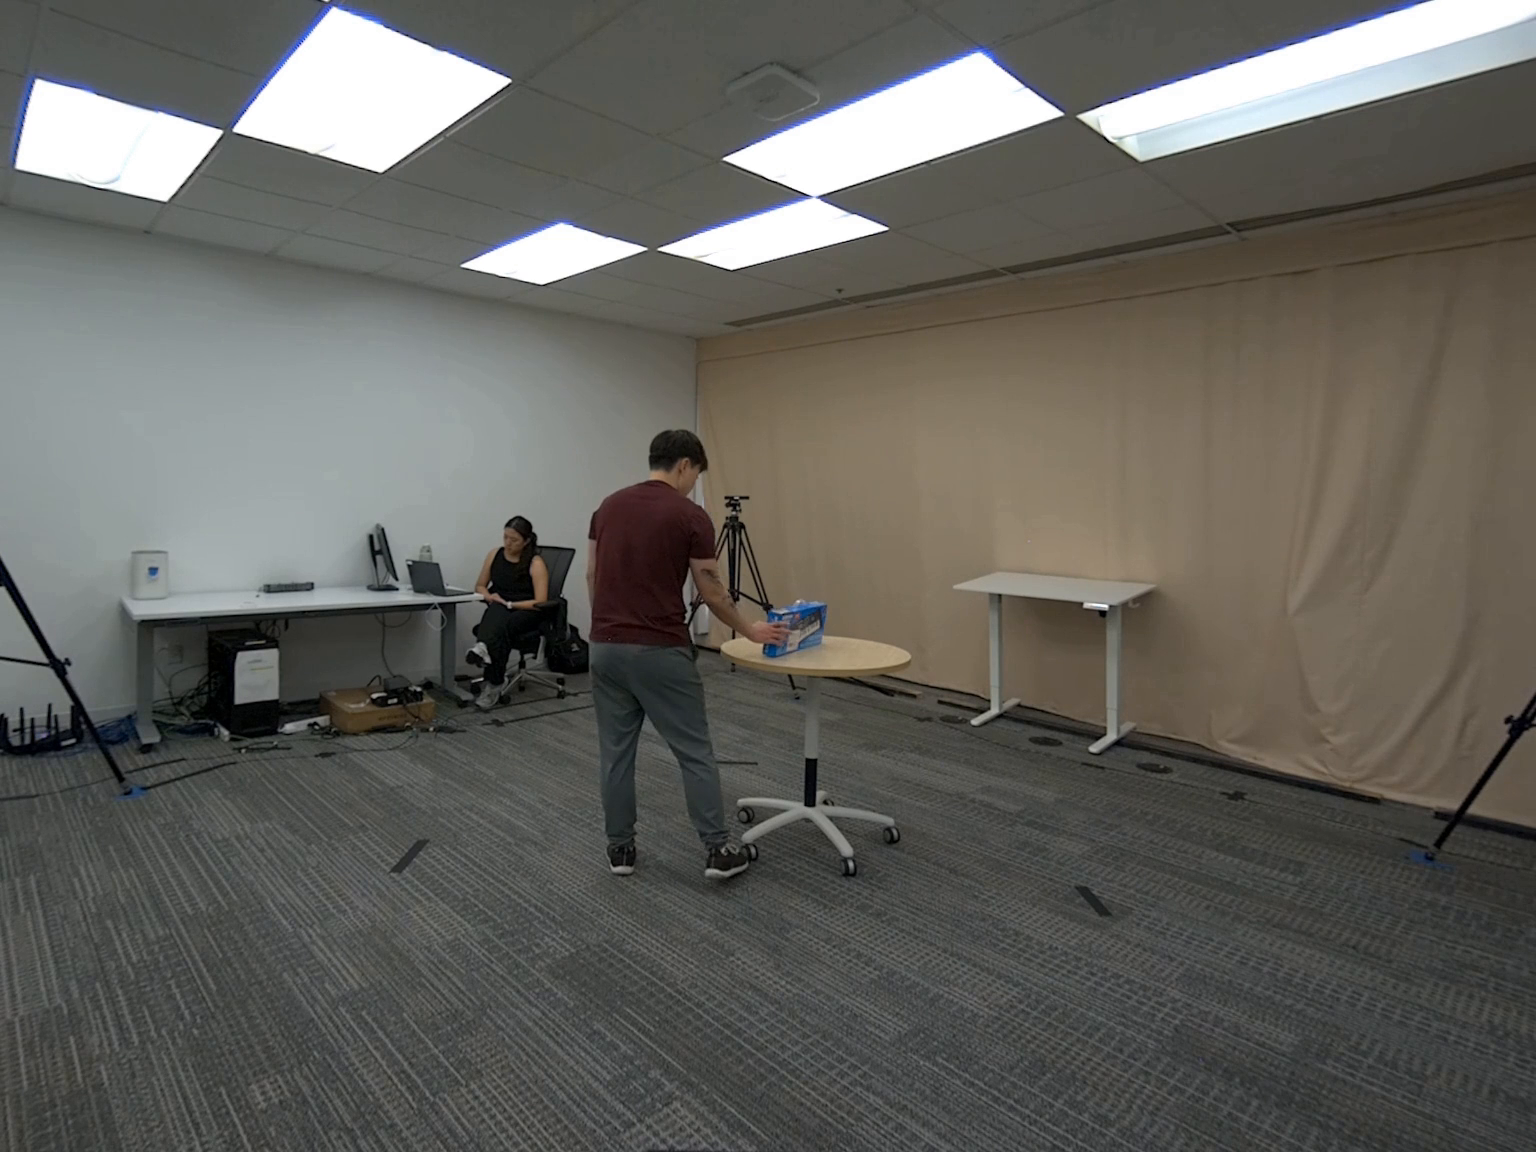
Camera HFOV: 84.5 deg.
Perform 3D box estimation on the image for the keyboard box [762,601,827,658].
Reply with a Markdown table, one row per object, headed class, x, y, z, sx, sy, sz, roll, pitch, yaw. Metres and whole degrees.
| class | x | y | z | sx | sy | sz | roll | pitch | yaw |
| --- | --- | --- | --- | --- | --- | --- | --- | --- | --- |
| keyboard box | 0.109 | 0.214 | 3.415 | 0.060 | 0.175 | 0.429 | 11 | 9 | 26 |
